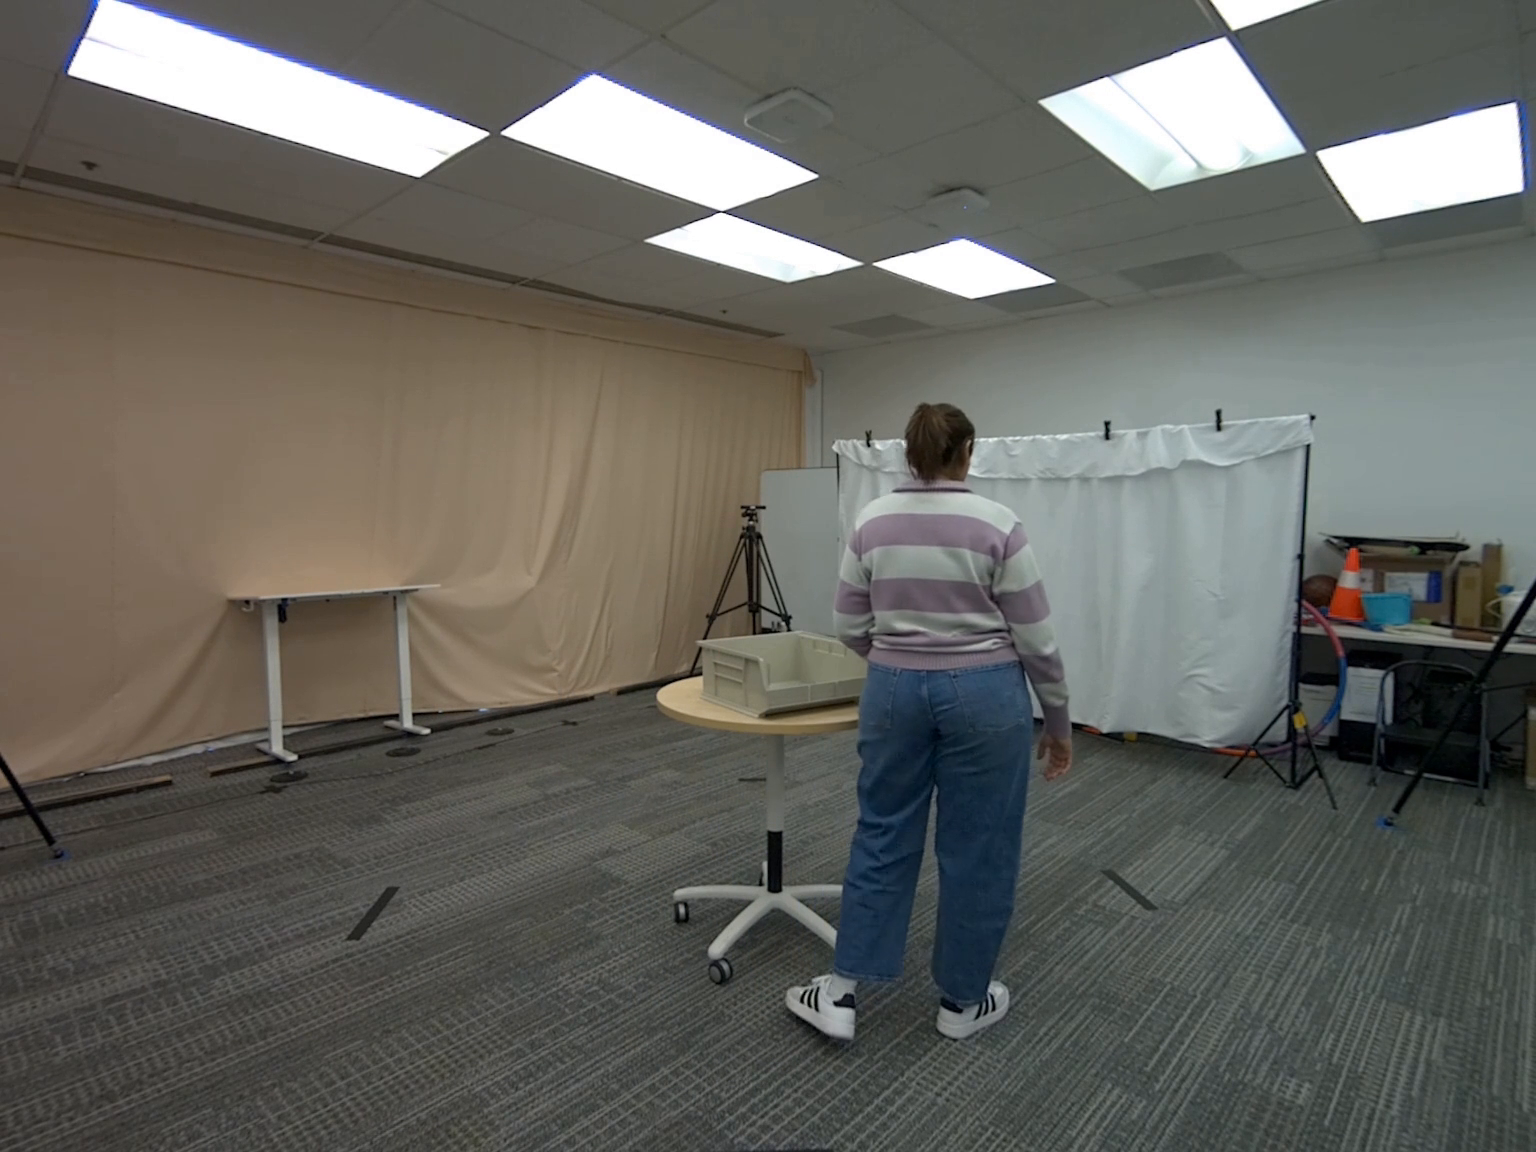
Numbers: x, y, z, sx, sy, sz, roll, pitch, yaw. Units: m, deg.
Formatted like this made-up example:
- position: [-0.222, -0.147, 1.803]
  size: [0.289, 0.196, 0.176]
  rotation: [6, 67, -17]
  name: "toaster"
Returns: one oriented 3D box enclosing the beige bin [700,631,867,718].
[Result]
- position: [0.058, 0.304, 2.616]
  size: [0.410, 0.188, 0.389]
  rotation: [-3, 4, -34]
  name: "beige bin"
